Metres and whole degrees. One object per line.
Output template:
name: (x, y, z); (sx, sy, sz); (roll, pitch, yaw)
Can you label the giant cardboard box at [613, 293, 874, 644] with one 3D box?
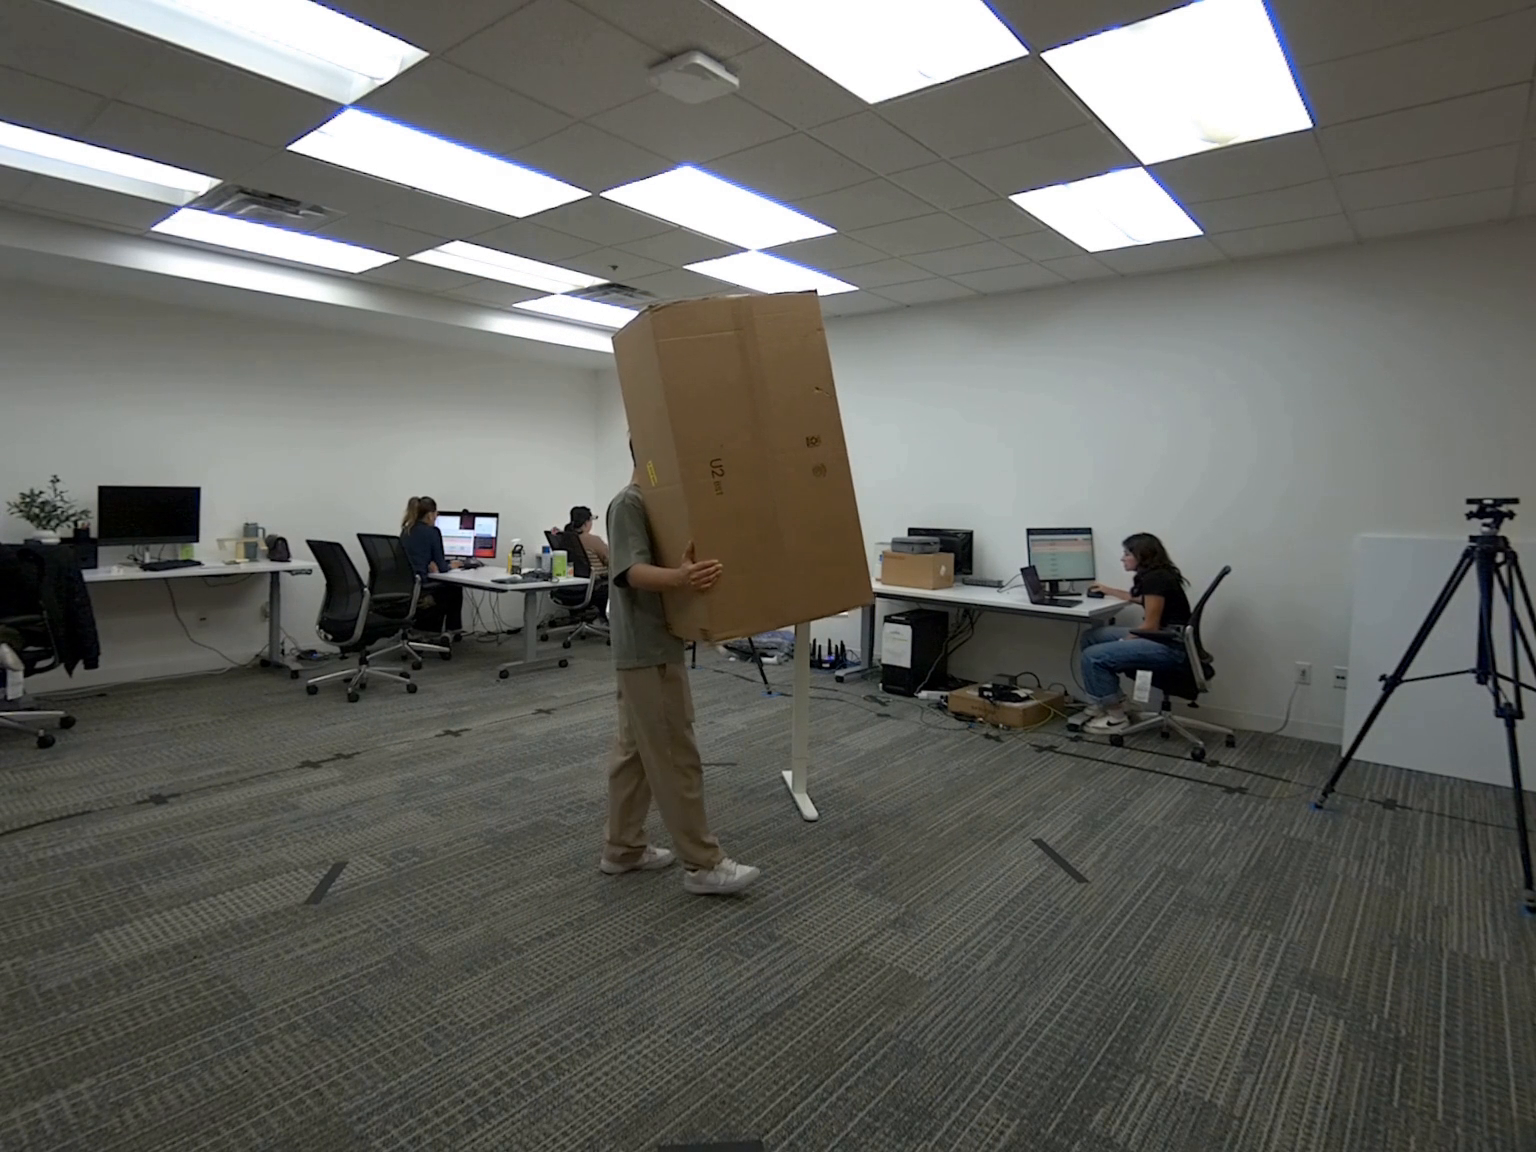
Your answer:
giant cardboard box: (-0.101, -0.352, 2.791); (0.567, 1.021, 0.436); (-13, 4, -24)
